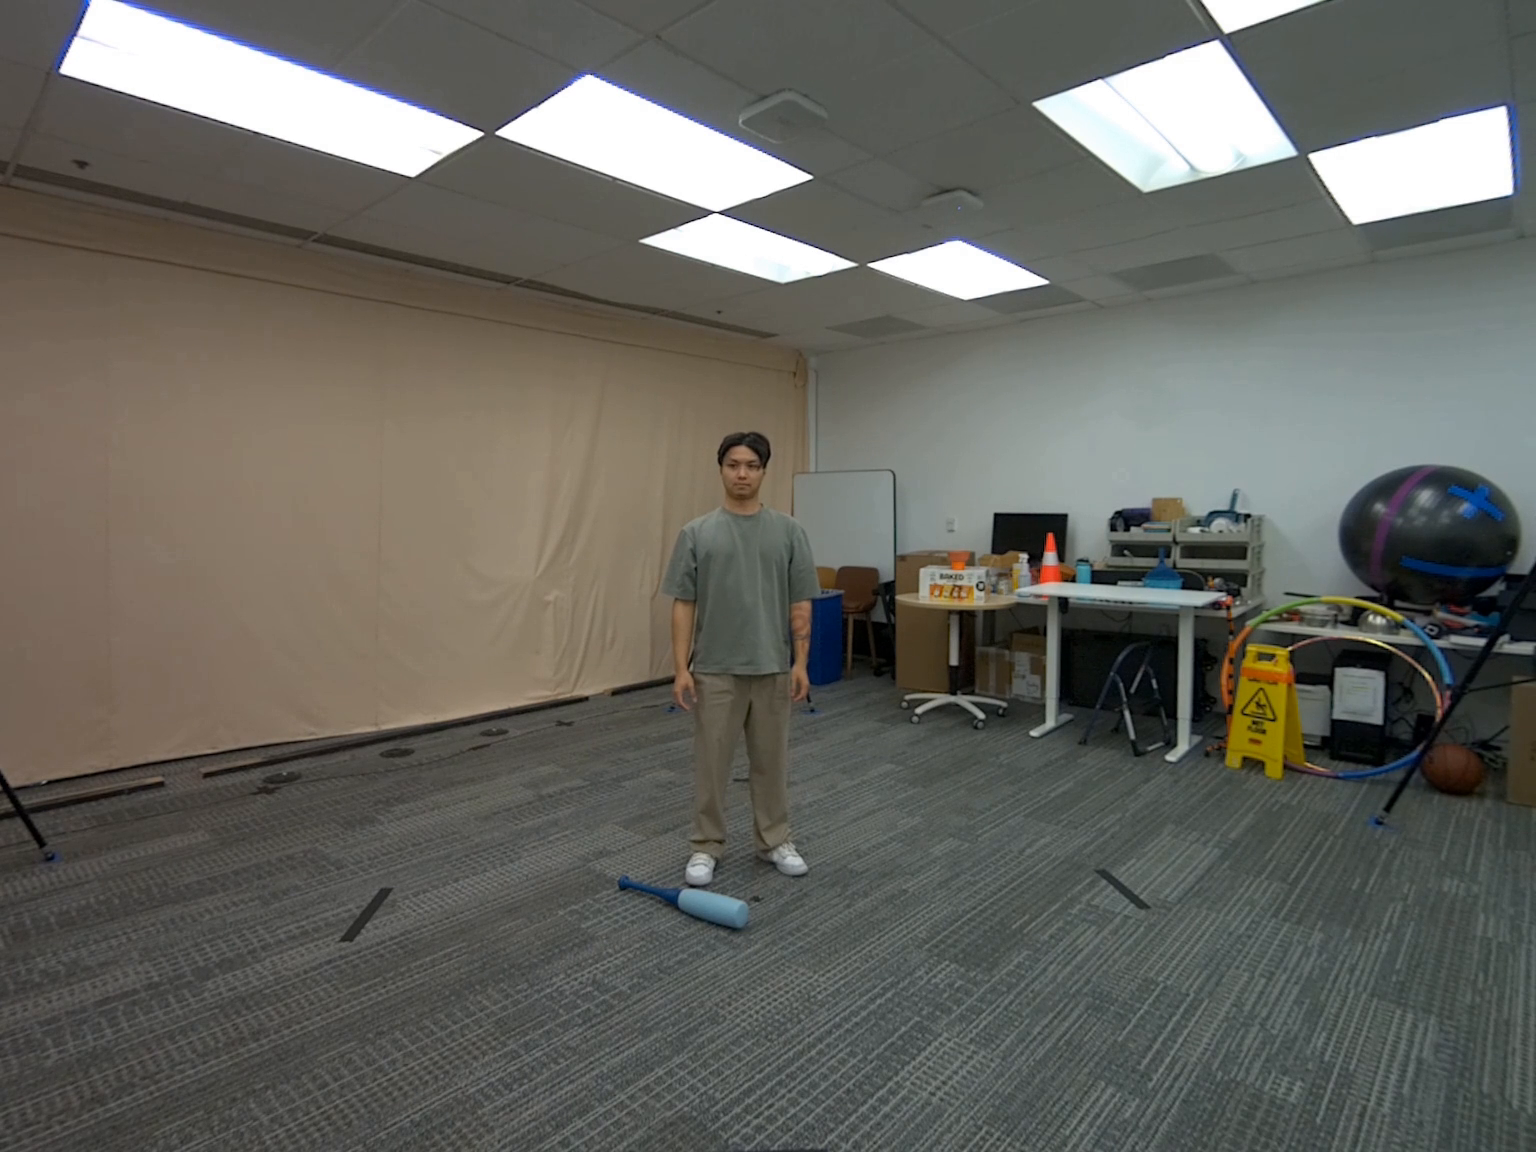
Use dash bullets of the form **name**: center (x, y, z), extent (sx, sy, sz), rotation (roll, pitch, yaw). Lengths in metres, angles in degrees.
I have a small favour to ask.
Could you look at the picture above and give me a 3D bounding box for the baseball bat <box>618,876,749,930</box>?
- **baseball bat**: center (-0.305, 1.120, 2.910), extent (0.559, 0.089, 0.086), rotation (-2, 2, 35)
